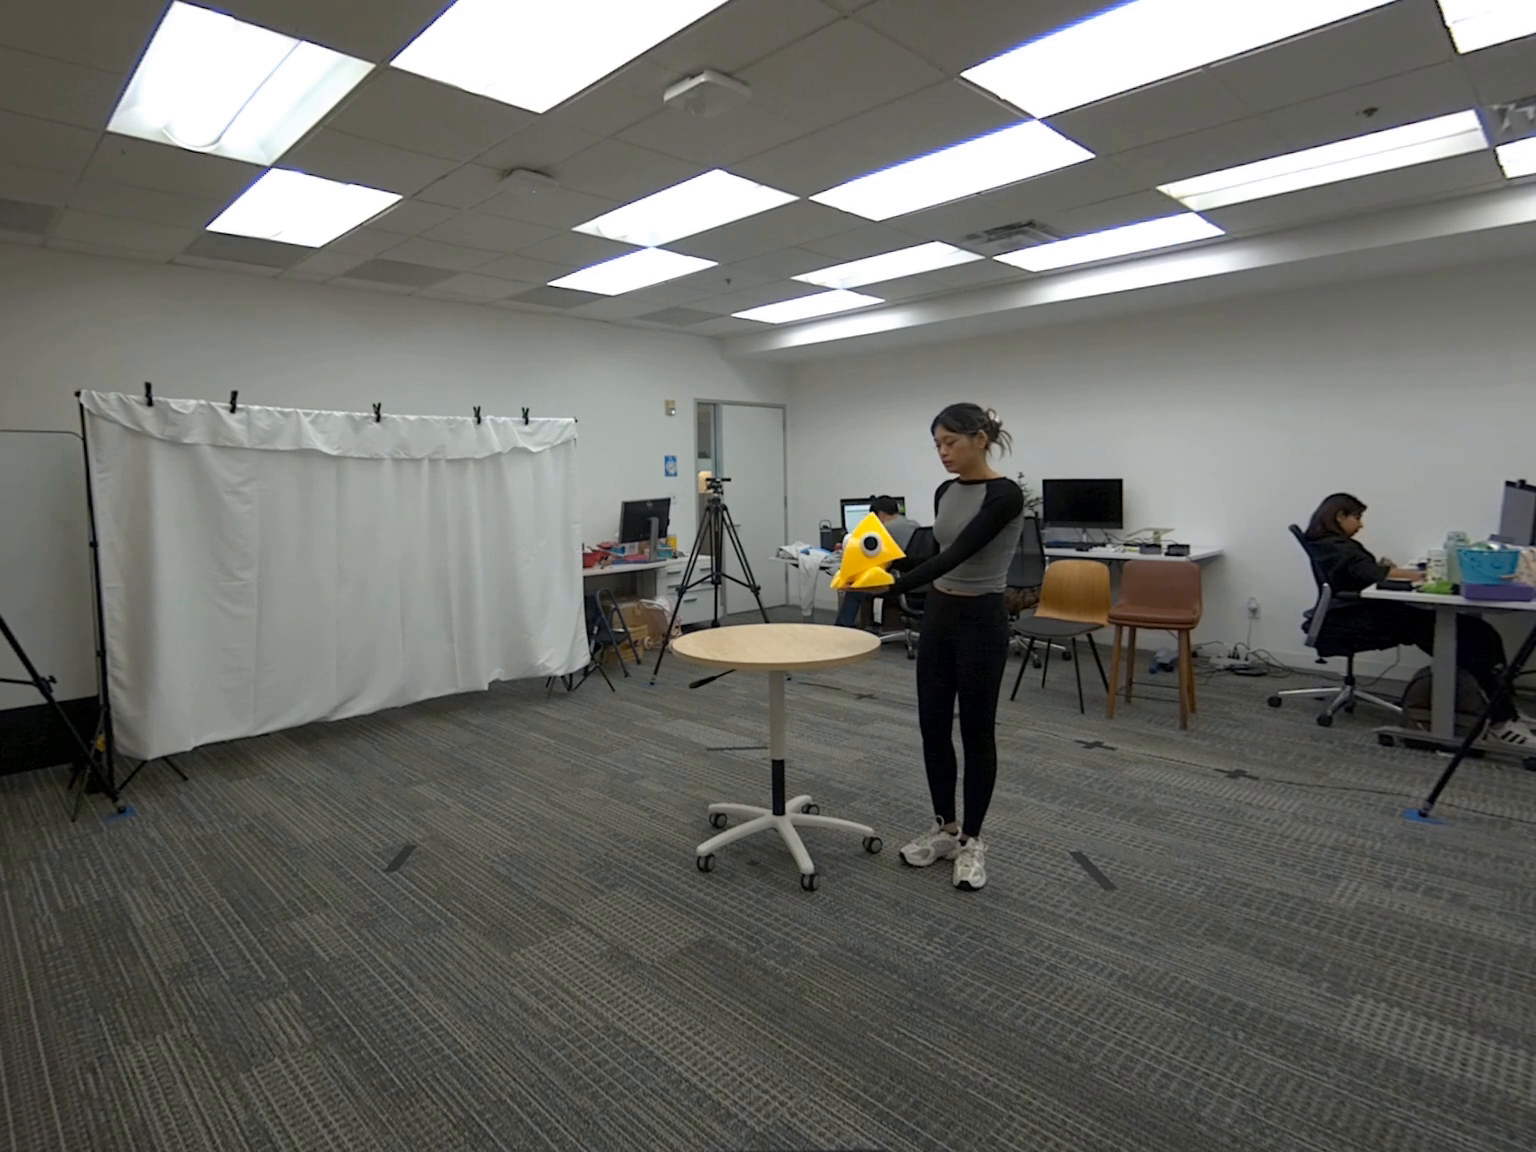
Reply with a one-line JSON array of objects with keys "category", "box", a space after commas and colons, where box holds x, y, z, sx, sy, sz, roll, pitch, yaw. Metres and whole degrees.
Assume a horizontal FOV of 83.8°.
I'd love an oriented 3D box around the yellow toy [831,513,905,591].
[{"category": "yellow toy", "box": [0.309, -0.086, 2.725, 0.188, 0.231, 0.209, -5, 0, -31]}]
